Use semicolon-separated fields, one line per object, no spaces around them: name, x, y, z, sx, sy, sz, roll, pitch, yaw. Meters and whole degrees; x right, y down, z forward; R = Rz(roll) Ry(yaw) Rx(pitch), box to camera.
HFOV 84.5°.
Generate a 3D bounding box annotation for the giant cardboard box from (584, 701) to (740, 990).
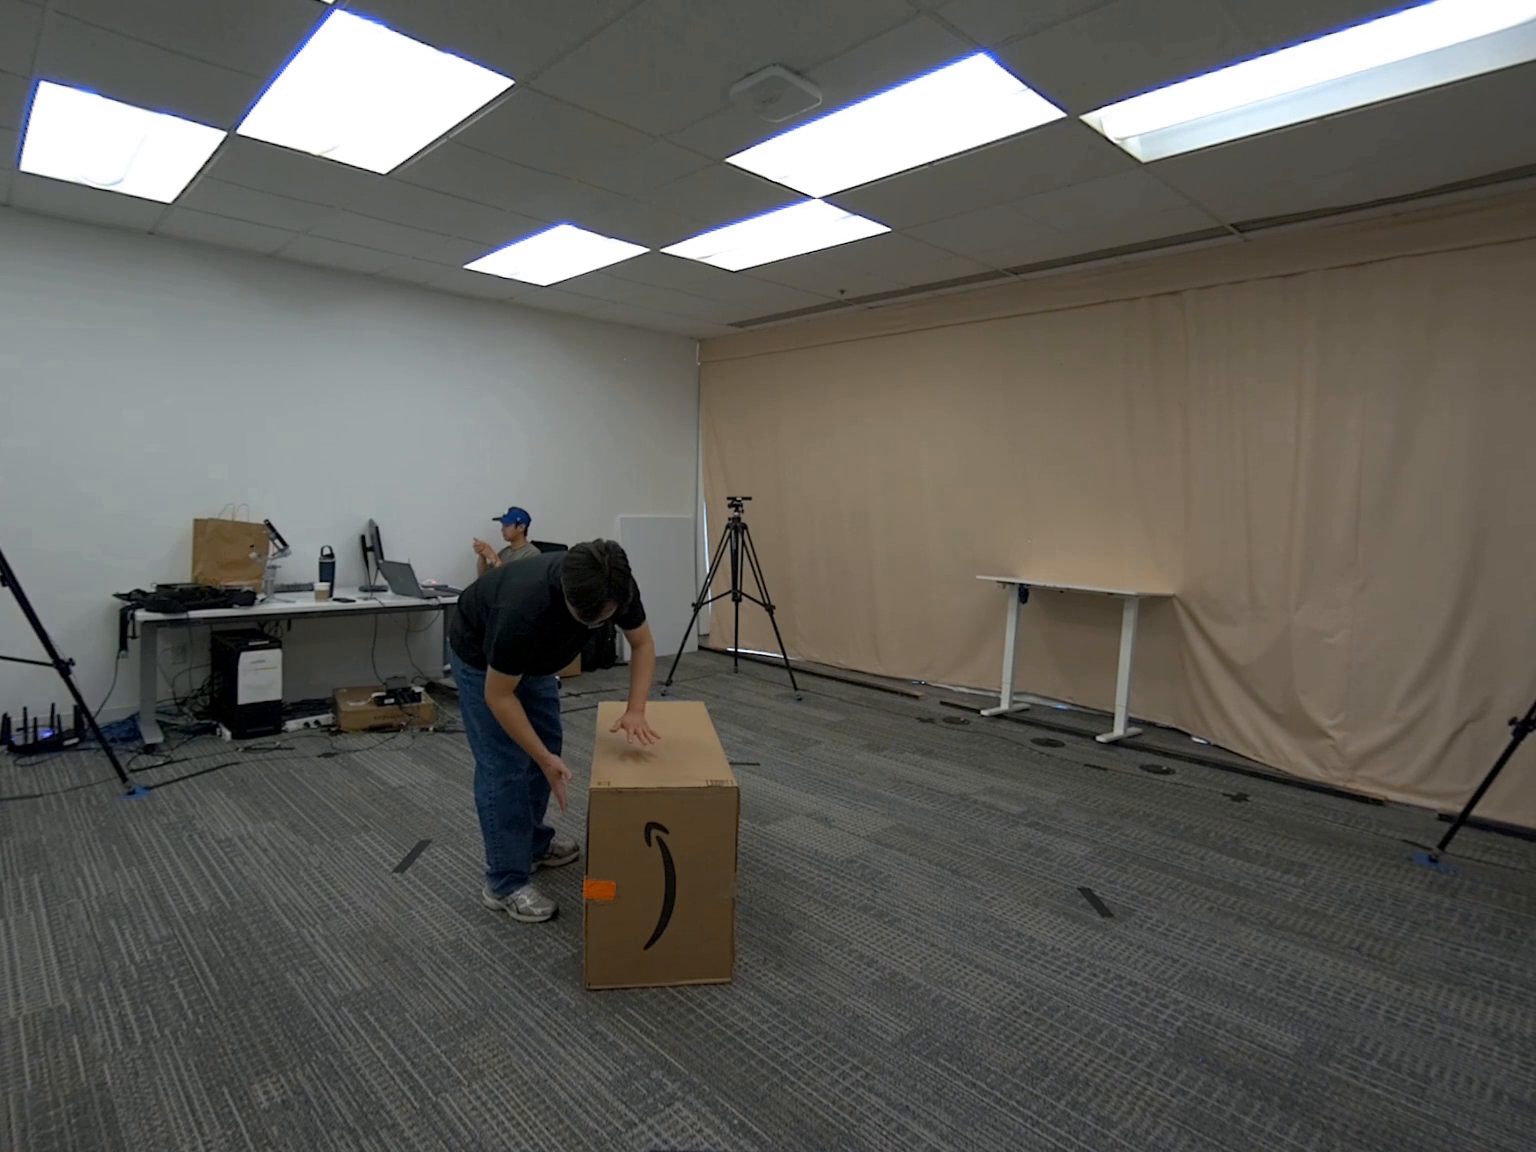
giant cardboard box;-0.392;0.834;2.878;0.443;0.582;1.037;0;4;-10
